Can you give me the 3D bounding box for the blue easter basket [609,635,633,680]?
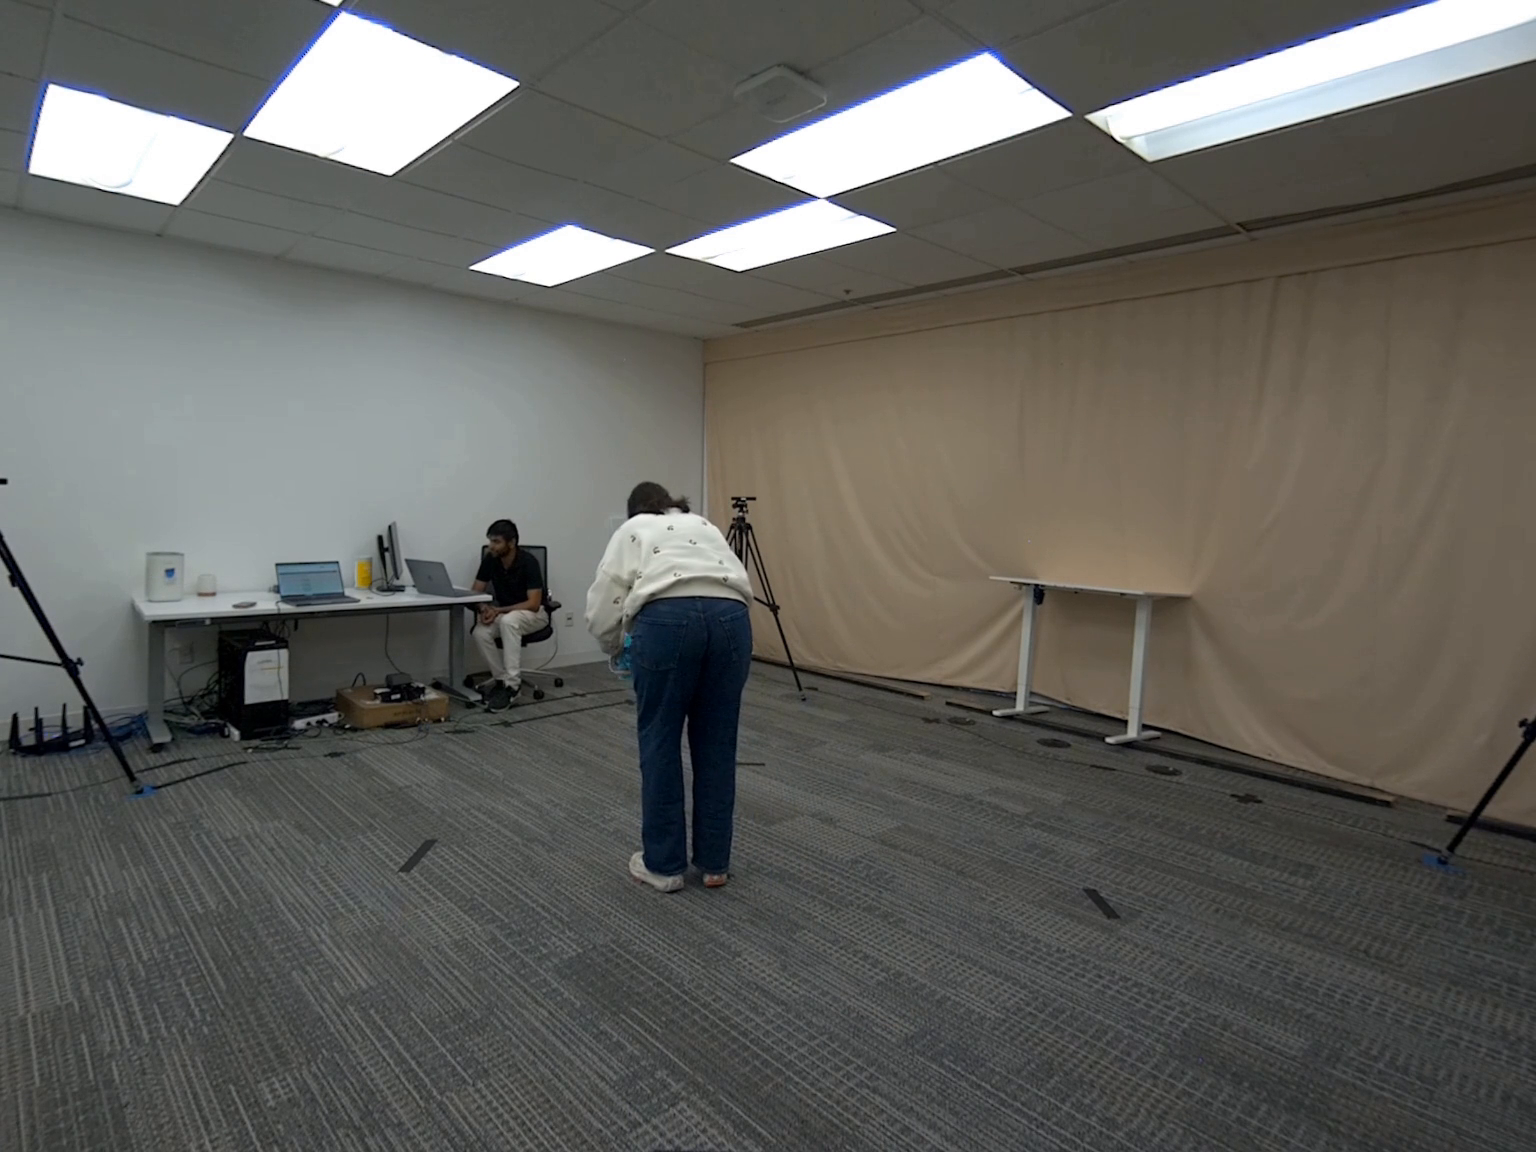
[{"bbox_3d":[-0.538,0.337,3.459,0.243,0.155,0.245,-3,6,-1],"label":"blue easter basket"}]
